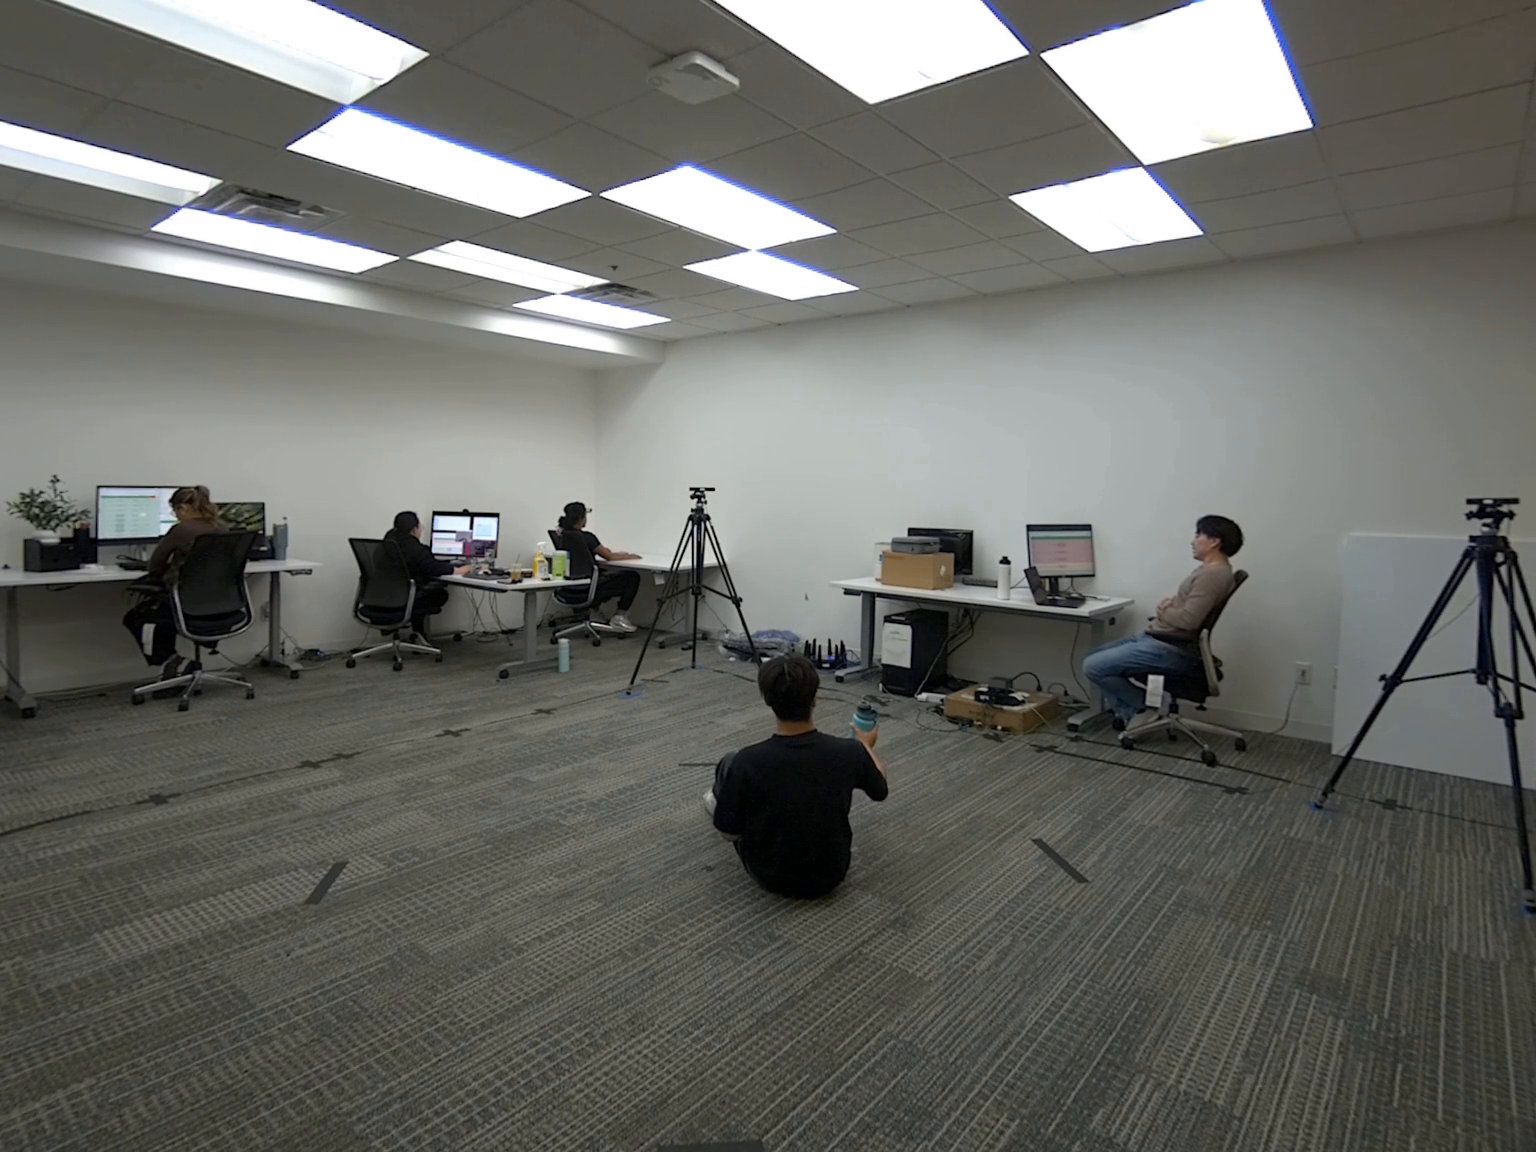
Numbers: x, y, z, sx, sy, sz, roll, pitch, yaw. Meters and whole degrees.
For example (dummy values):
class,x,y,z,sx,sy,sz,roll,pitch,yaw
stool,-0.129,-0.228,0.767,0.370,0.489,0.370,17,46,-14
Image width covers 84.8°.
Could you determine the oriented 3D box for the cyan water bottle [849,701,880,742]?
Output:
class,x,y,z,sx,sy,sz,roll,pitch,yaw
cyan water bottle,0.365,0.643,3.438,0.092,0.281,0.093,12,10,-4
